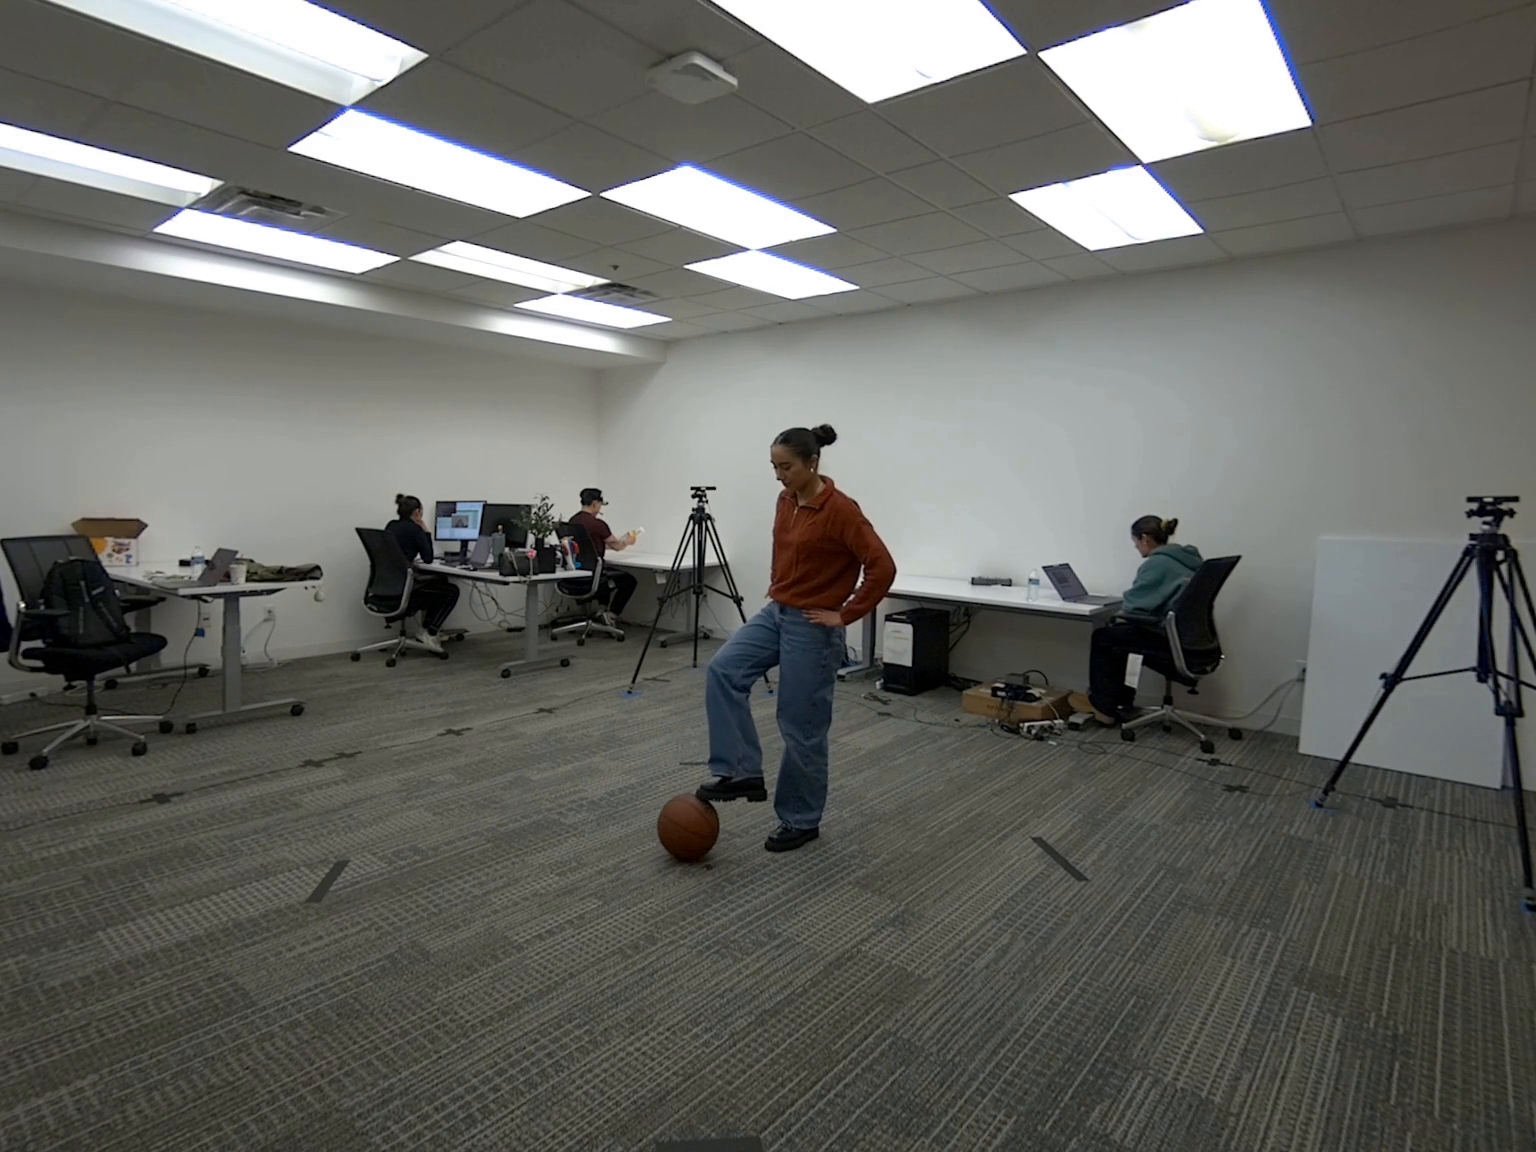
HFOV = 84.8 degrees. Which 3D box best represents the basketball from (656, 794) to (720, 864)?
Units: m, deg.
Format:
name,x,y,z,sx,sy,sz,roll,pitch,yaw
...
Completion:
name,x,y,z,sx,sy,sz,roll,pitch,yaw
basketball,-0.317,0.934,3.203,0.235,0.235,0.237,1,4,-2
